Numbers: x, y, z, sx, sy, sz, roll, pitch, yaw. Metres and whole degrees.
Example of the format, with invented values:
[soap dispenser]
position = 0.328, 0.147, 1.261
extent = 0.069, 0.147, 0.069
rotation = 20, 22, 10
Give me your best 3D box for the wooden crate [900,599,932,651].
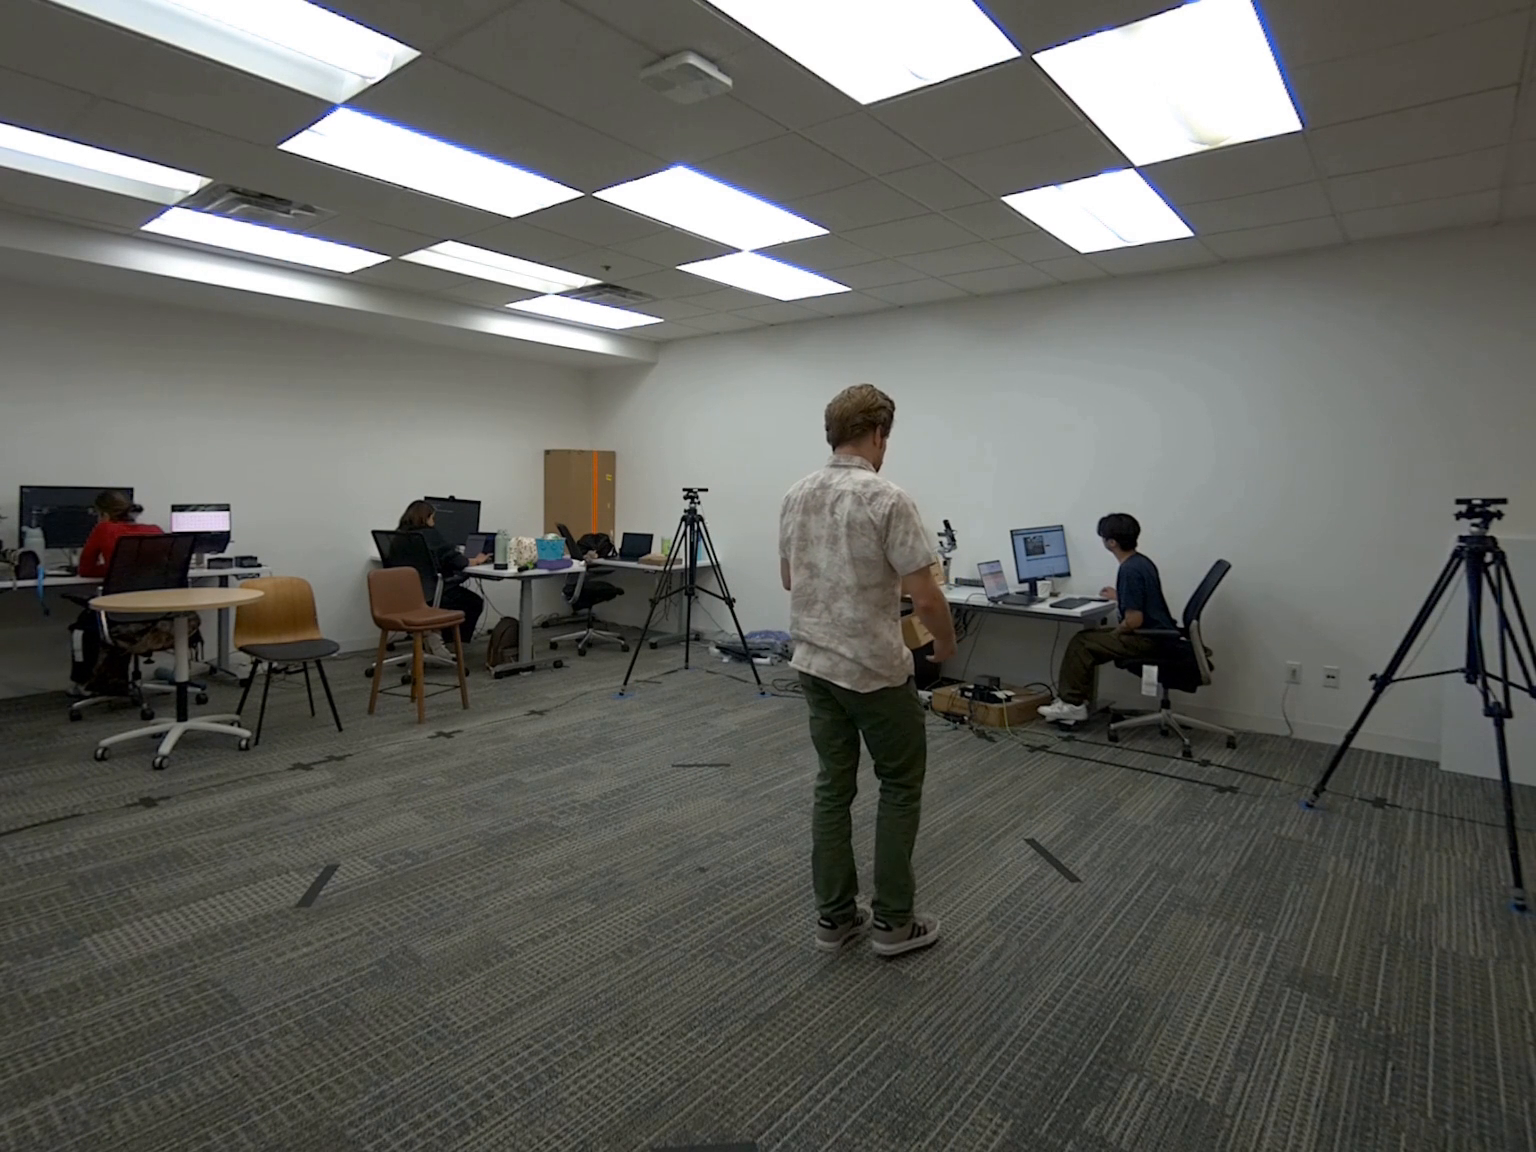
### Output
[wooden crate]
position = 0.415, 0.106, 2.903
extent = 0.307, 0.275, 0.317
rotation = -22, -5, 30
